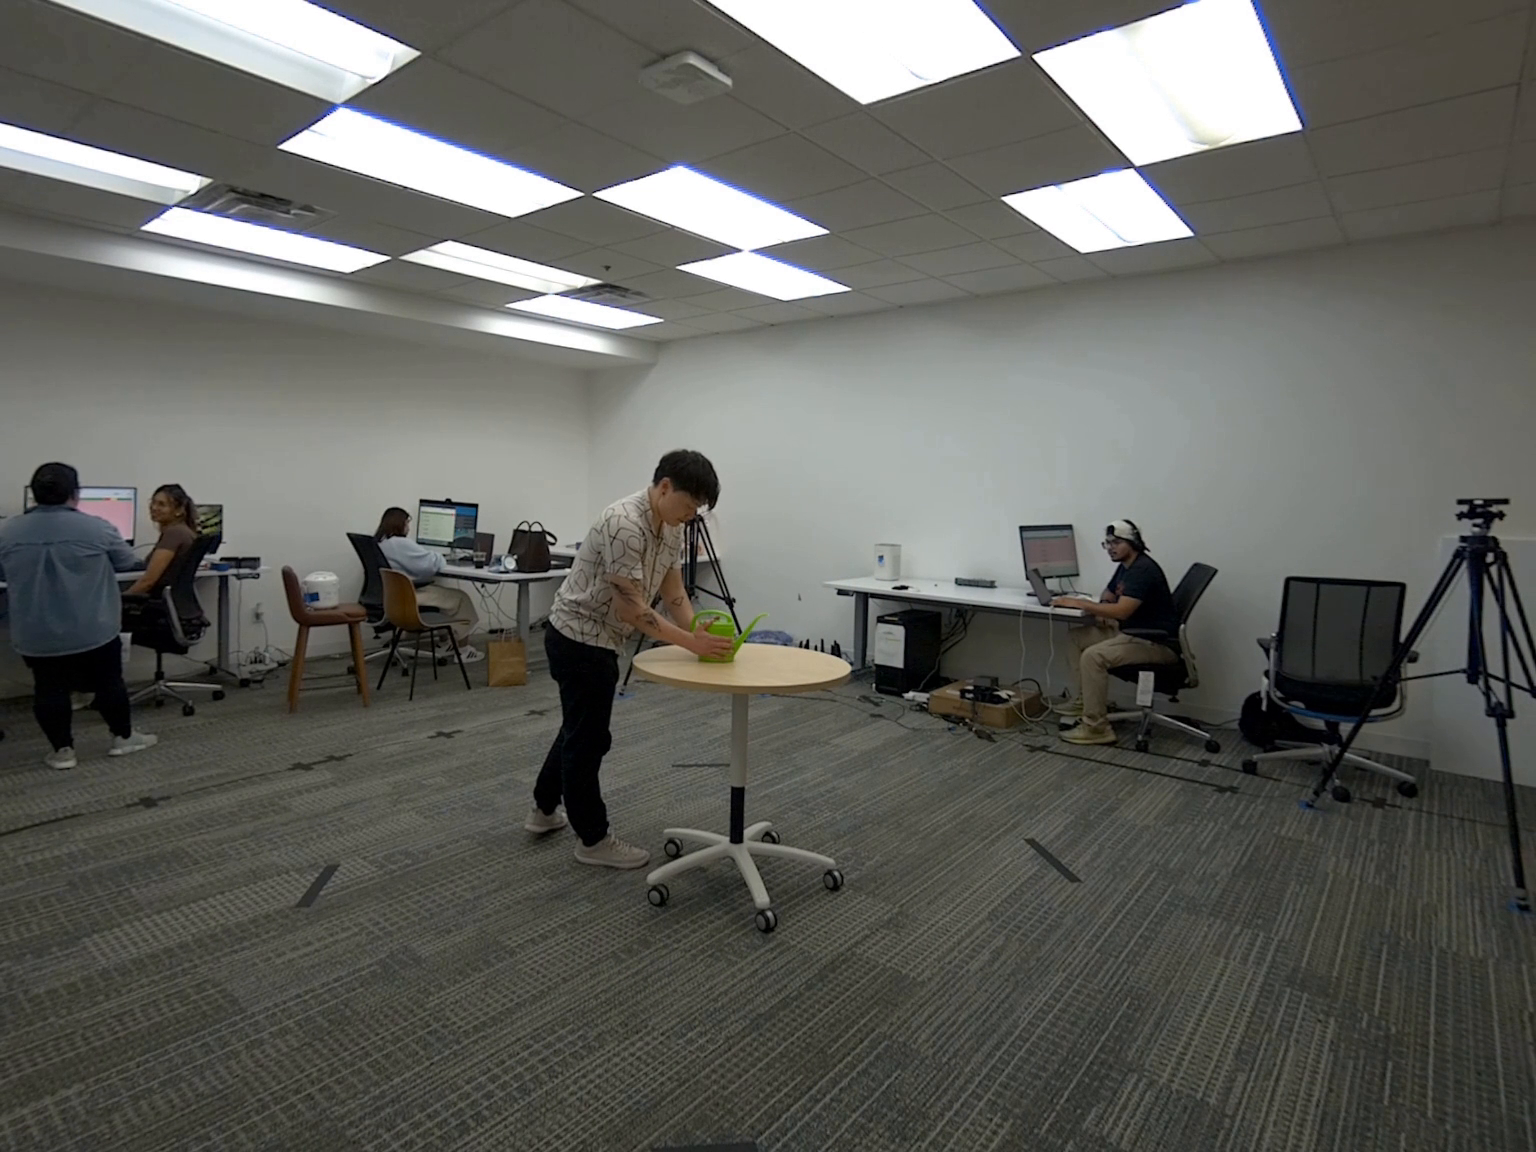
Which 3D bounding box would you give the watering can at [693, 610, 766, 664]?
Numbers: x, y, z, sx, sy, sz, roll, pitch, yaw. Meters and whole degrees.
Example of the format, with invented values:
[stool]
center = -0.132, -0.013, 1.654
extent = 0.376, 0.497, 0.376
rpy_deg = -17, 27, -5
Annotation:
[watering can]
center = -0.146, 0.215, 2.982
extent = 0.283, 0.176, 0.096
rpy_deg = 2, 3, 16
